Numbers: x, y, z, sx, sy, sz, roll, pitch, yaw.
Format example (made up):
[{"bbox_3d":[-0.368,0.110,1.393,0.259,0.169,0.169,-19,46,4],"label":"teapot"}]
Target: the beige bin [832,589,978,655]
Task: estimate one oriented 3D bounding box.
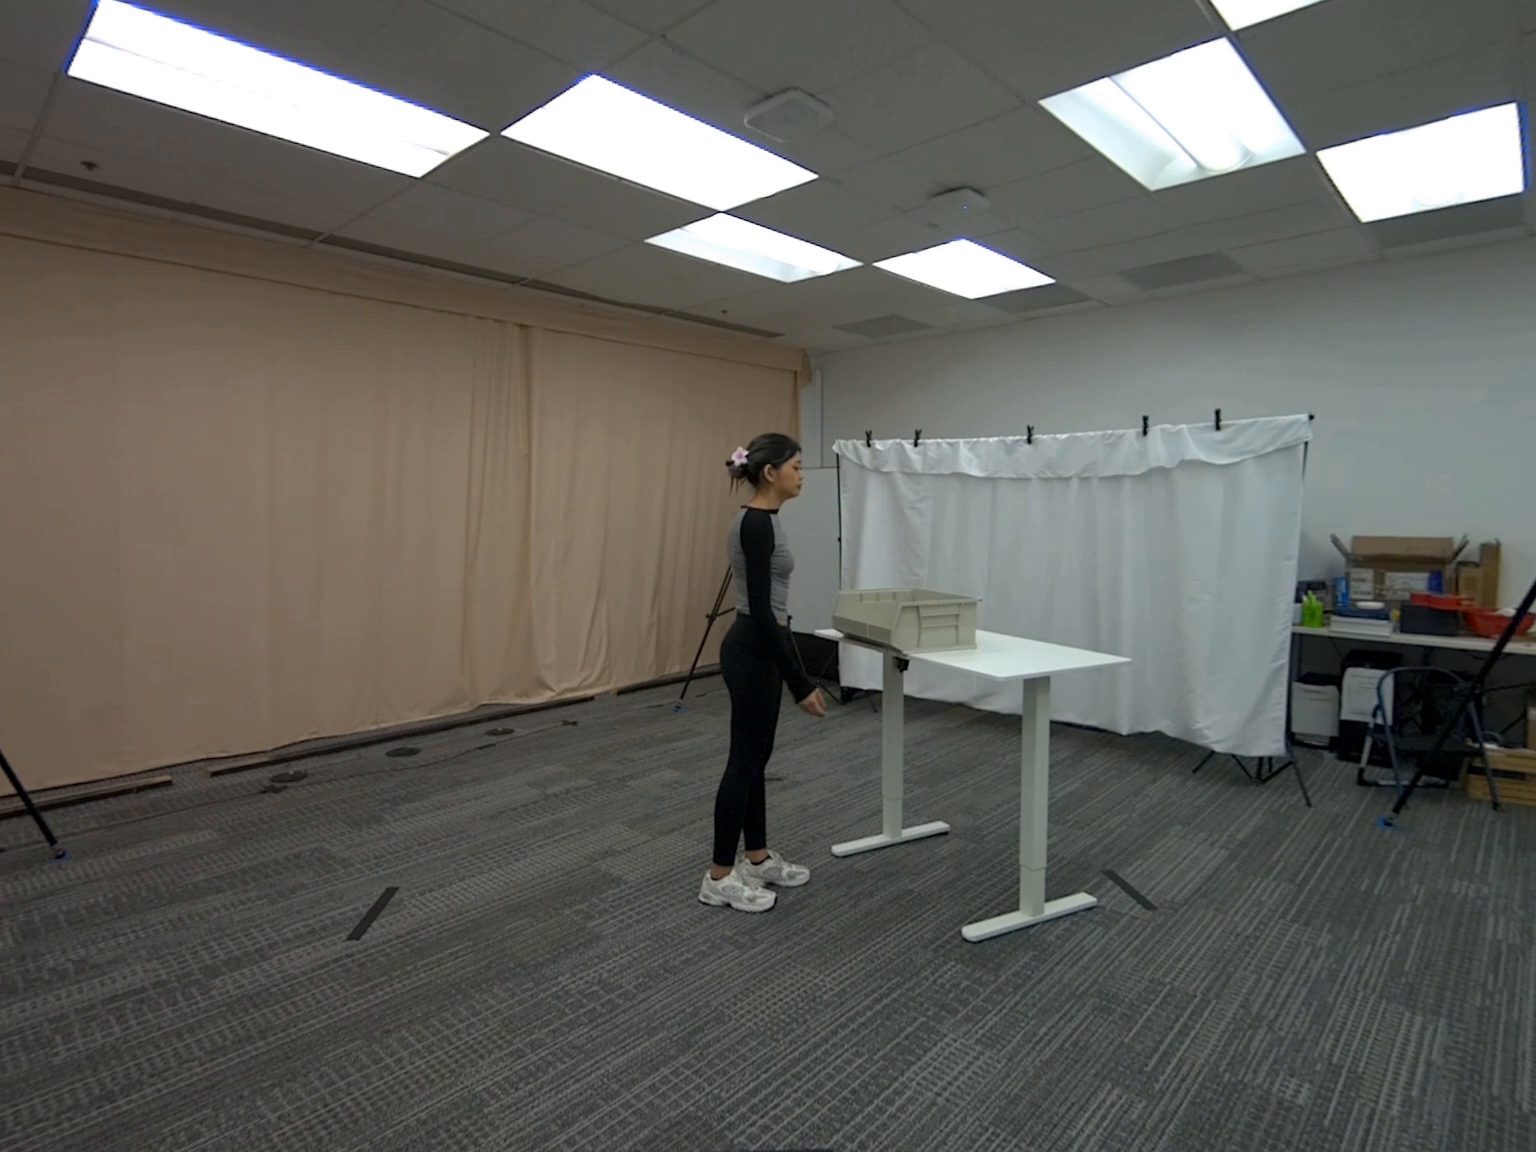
[{"bbox_3d":[0.506,0.160,3.114,0.369,0.188,0.433,-1,4,-24],"label":"beige bin"}]
